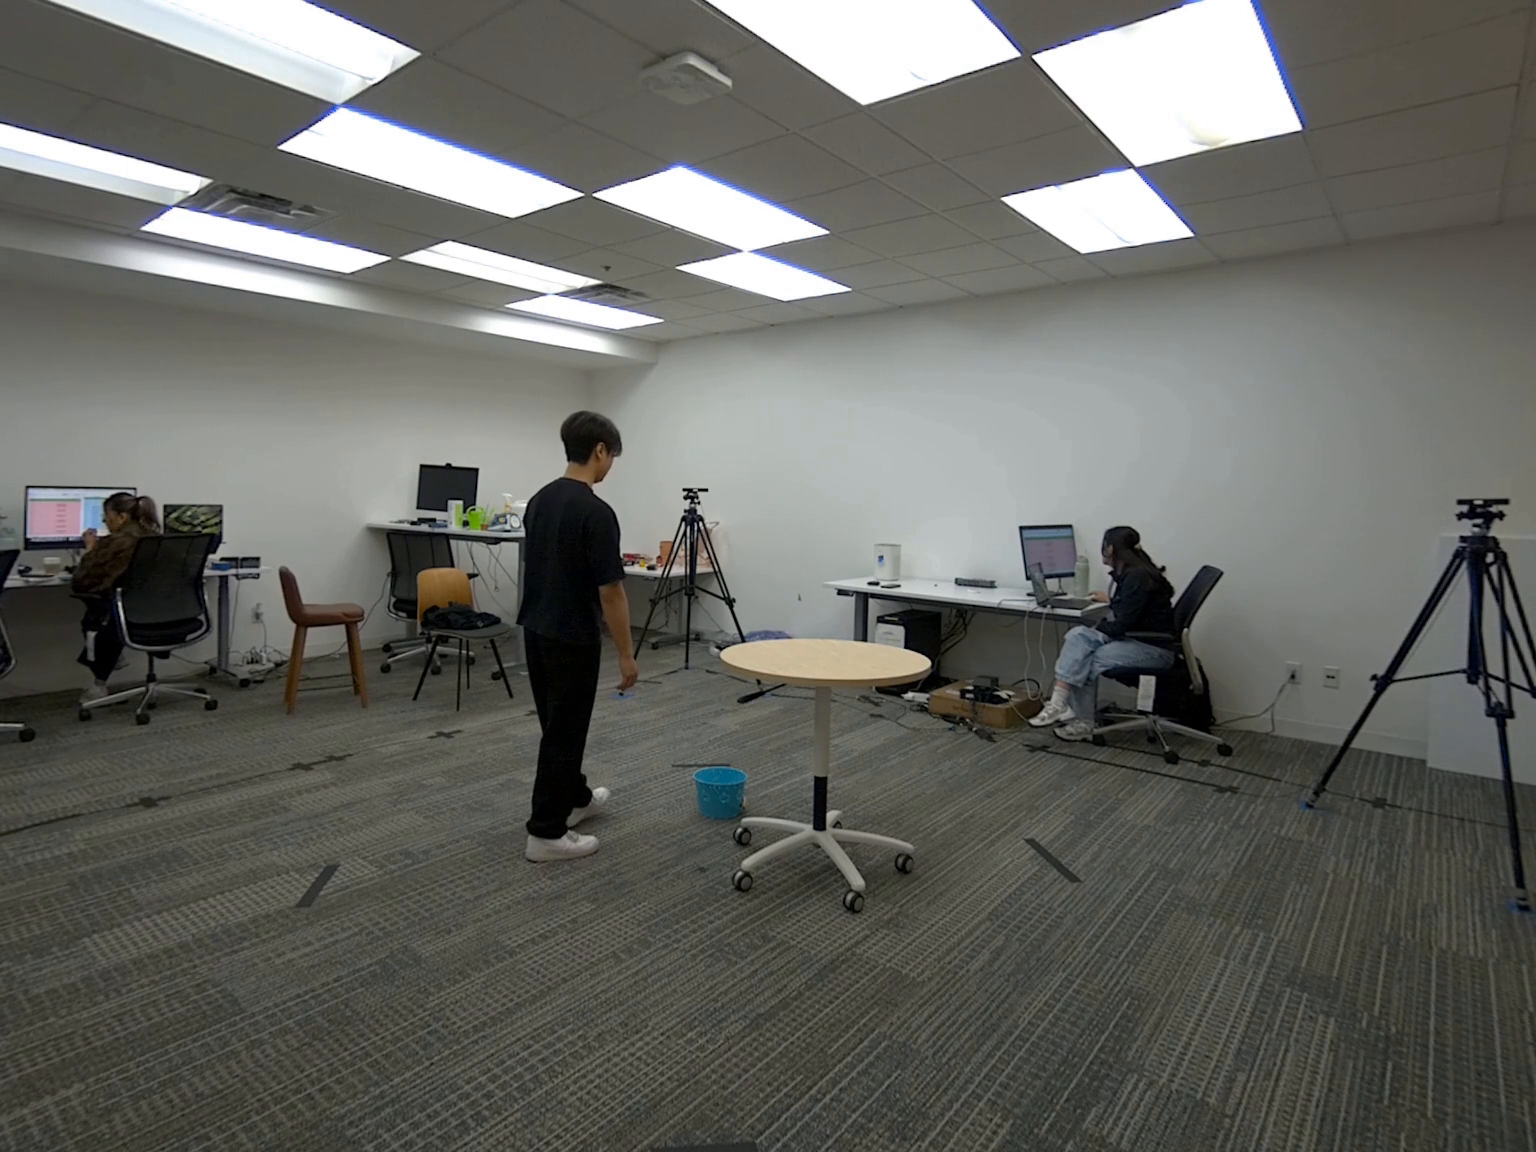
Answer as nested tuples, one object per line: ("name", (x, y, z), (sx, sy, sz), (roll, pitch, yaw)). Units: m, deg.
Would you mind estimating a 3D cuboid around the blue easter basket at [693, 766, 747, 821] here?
("blue easter basket", (-0.212, 0.935, 3.686), (0.243, 0.155, 0.245), (1, 6, -2))
